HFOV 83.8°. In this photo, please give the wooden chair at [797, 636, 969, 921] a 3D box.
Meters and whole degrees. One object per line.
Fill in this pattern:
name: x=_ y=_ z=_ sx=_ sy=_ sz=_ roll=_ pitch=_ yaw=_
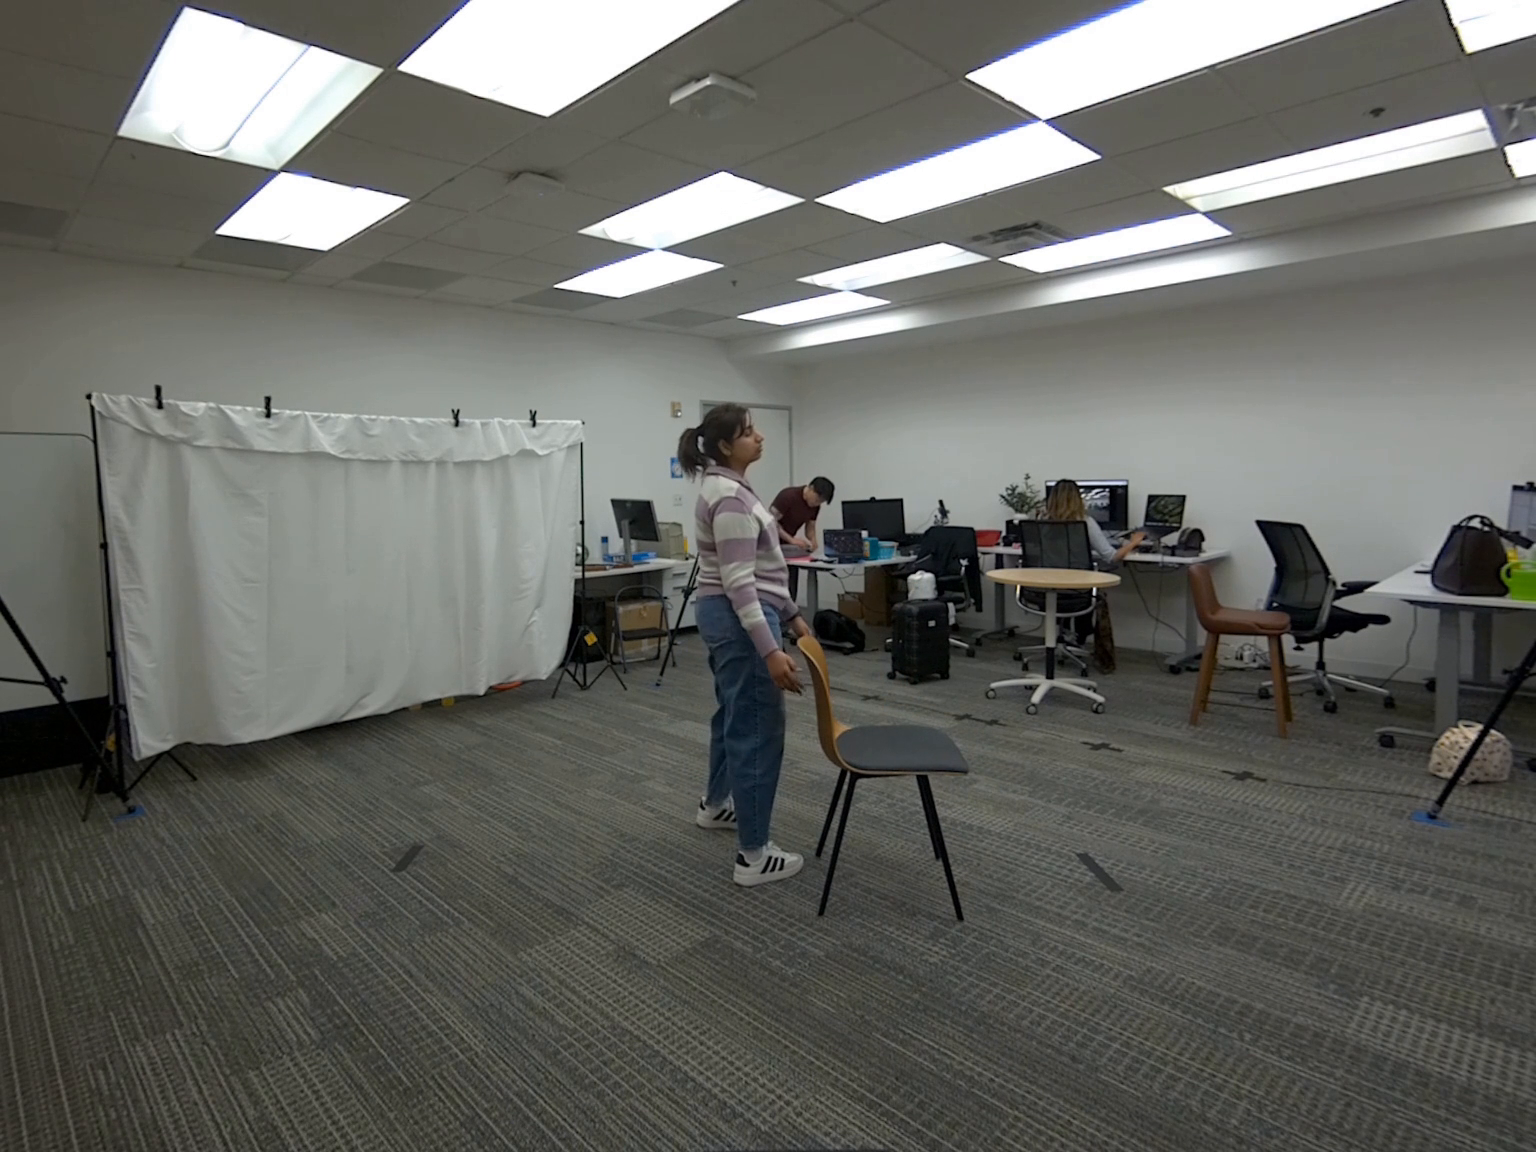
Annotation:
wooden chair: x=0.399 y=0.634 z=2.896 sx=0.525 sy=0.875 sz=0.477 roll=-4 pitch=3 yaw=4
